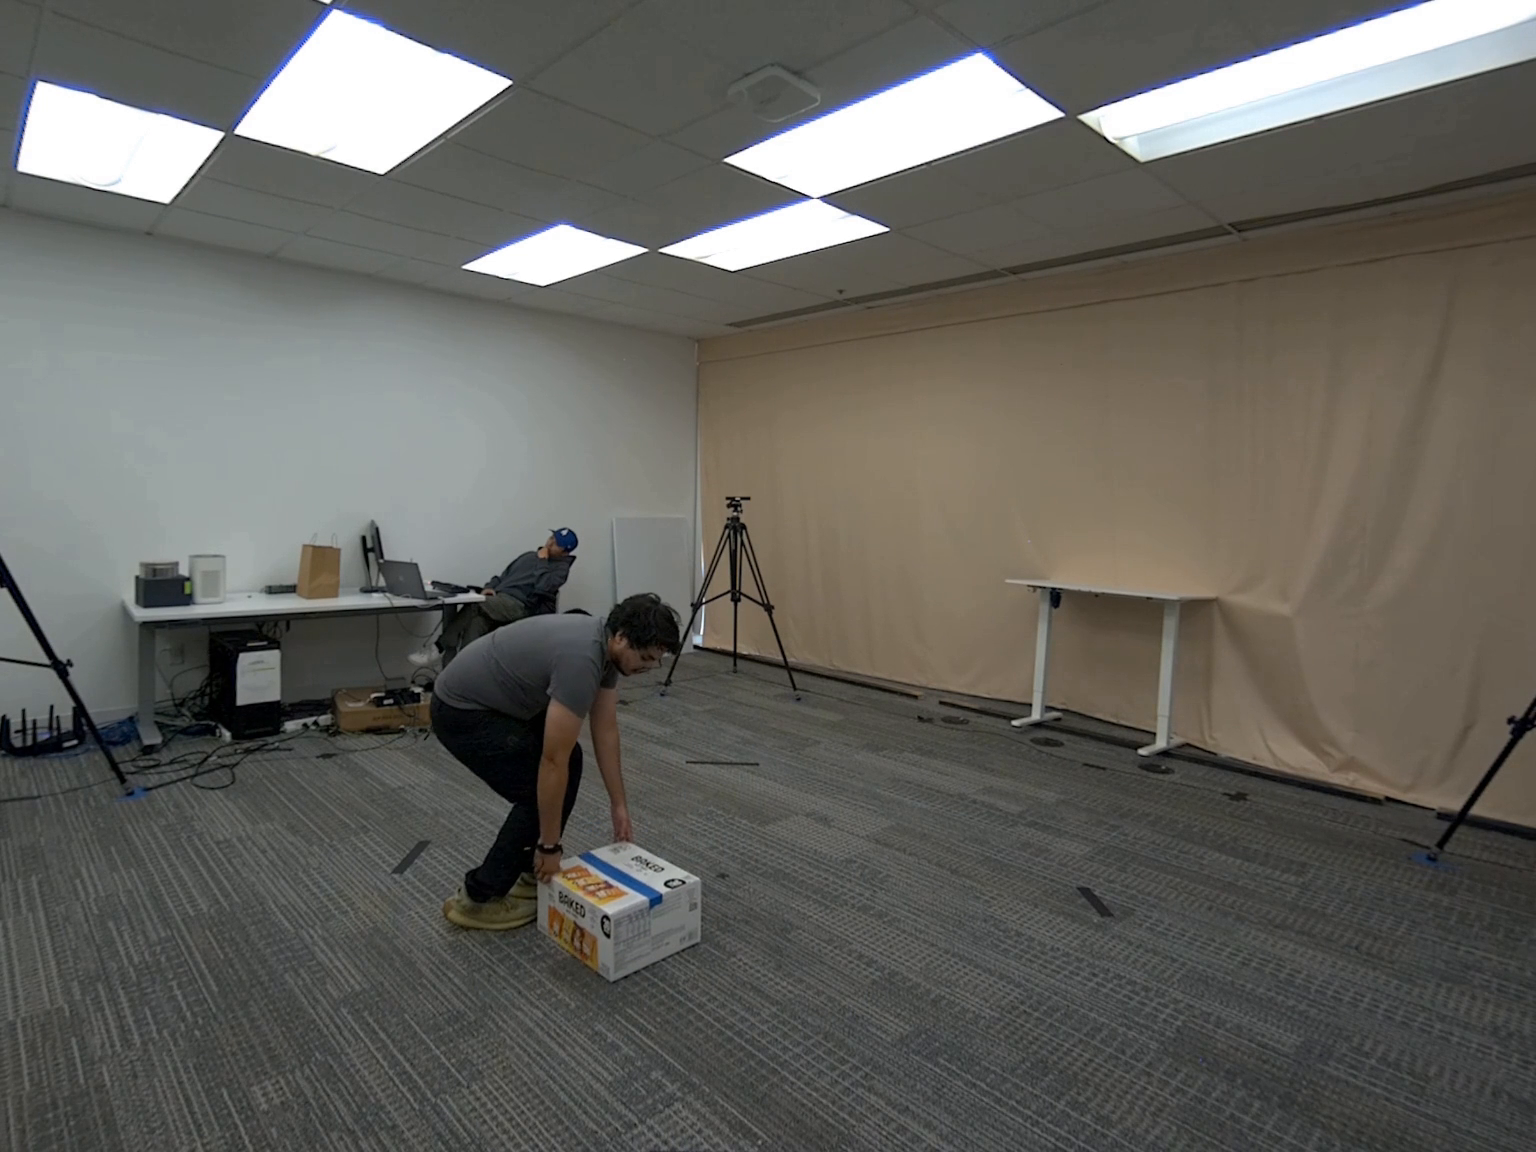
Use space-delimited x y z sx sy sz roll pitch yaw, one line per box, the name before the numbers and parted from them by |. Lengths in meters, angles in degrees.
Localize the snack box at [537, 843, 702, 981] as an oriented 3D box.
snack box | -0.474 1.038 2.644 0.333 0.205 0.416 -5 8 -44
